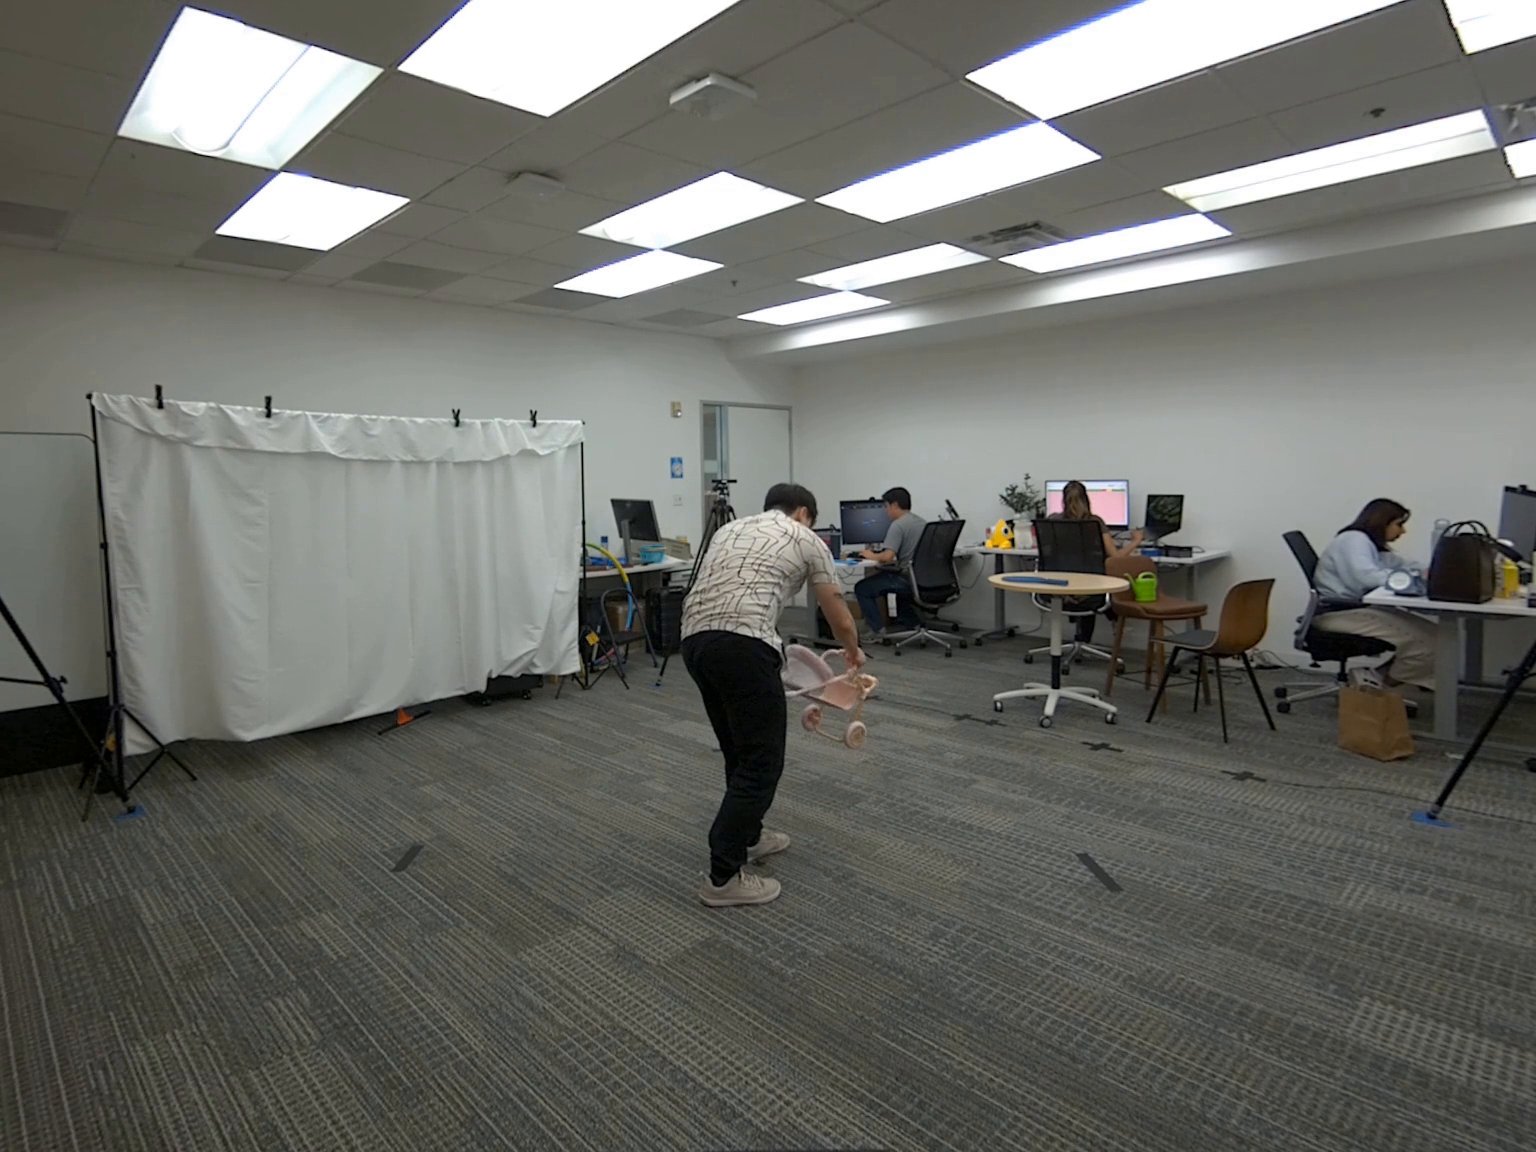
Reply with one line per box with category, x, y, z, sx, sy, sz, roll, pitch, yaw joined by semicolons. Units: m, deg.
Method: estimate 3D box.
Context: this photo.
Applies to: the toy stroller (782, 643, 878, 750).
toy stroller;0.228;0.434;3.383;0.516;0.342;0.291;42;-14;-33
